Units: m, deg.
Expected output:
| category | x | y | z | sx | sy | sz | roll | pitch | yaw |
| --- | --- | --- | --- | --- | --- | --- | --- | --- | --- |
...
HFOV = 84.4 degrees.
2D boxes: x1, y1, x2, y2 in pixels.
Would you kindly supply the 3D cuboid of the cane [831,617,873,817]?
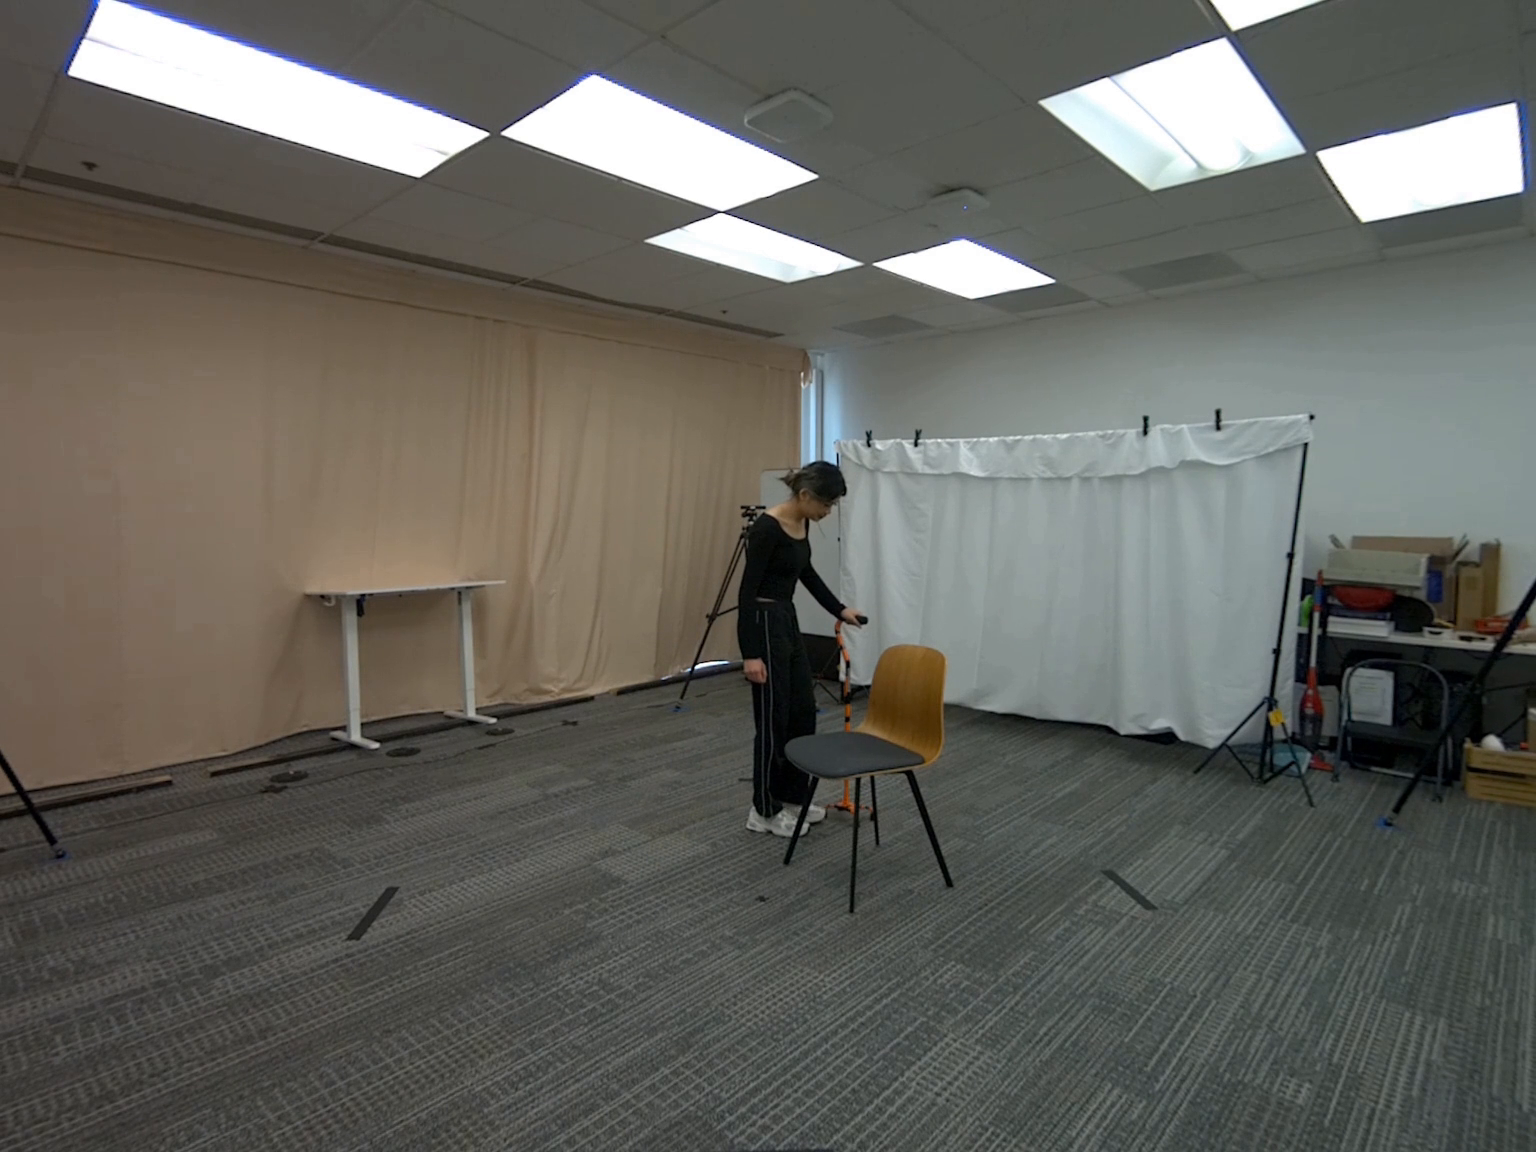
| category | x | y | z | sx | sy | sz | roll | pitch | yaw |
| --- | --- | --- | --- | --- | --- | --- | --- | --- | --- |
| cane | 0.369 | 0.623 | 3.717 | 0.147 | 0.906 | 0.213 | -2 | 4 | -41 |
